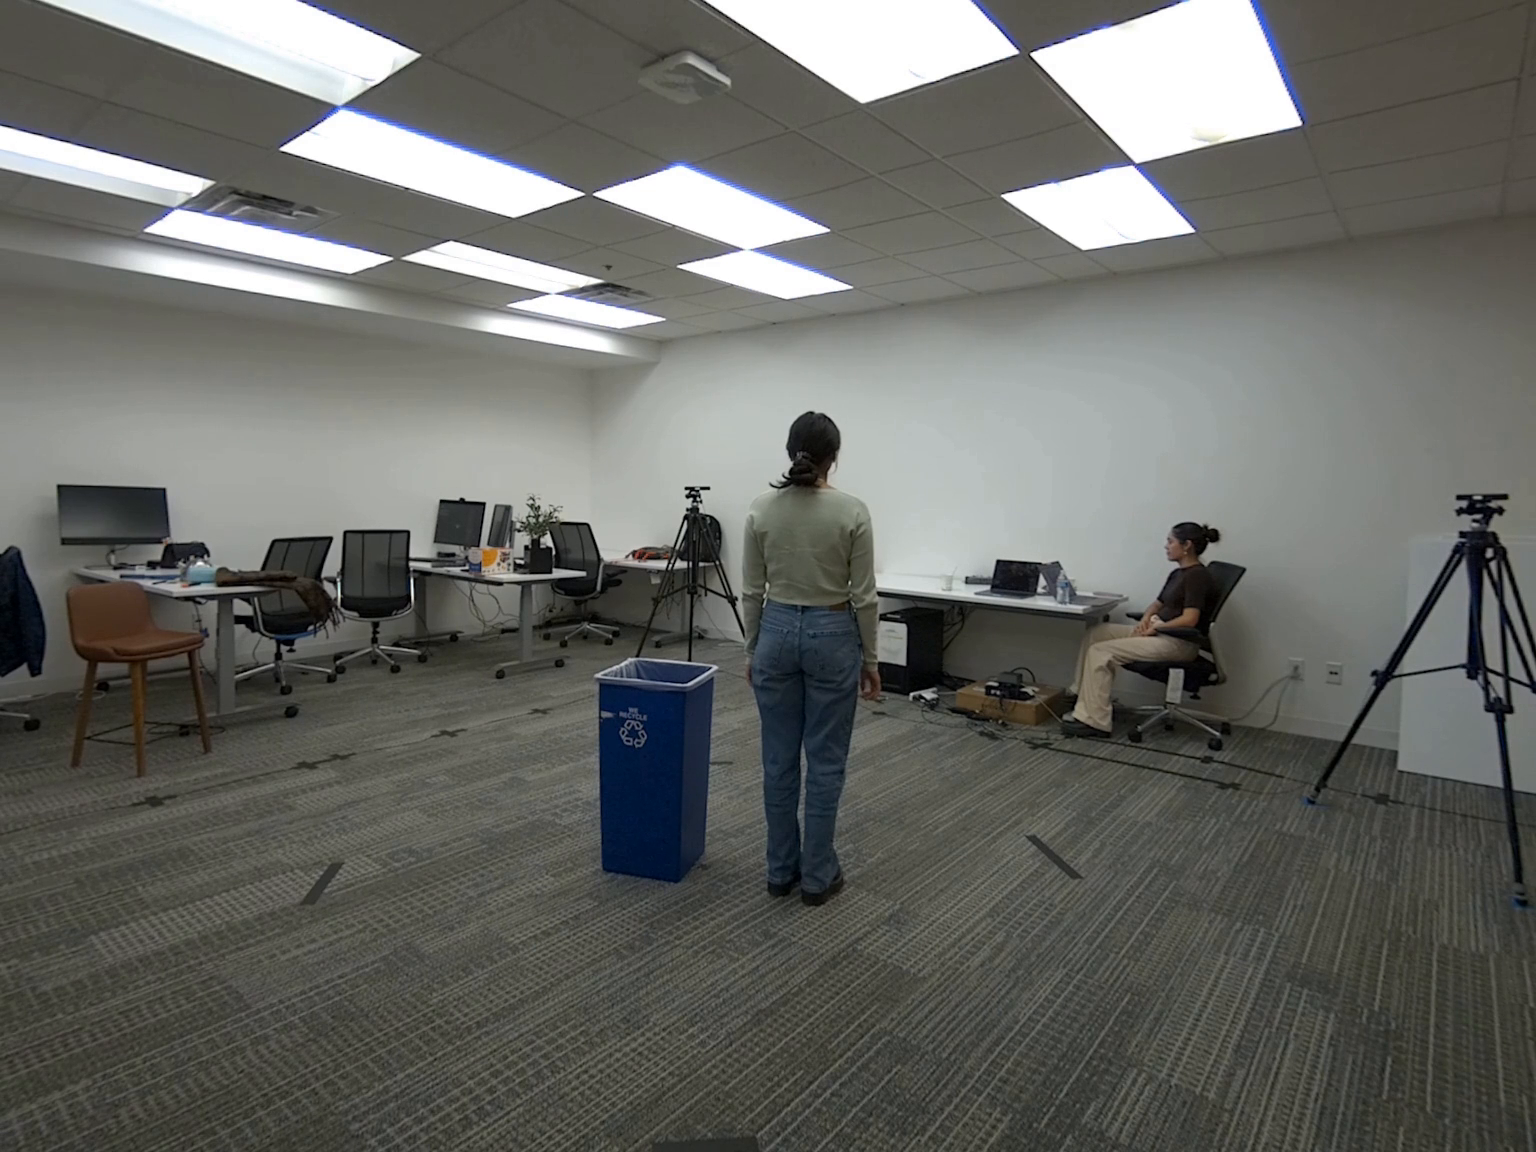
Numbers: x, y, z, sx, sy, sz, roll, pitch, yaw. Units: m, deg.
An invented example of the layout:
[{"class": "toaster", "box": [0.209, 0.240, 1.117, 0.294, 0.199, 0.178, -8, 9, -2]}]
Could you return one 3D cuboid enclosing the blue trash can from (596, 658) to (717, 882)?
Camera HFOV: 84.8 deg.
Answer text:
[{"class": "blue trash can", "box": [-0.418, 0.701, 3.151, 0.381, 0.711, 0.372, 2, 3, 16]}]
